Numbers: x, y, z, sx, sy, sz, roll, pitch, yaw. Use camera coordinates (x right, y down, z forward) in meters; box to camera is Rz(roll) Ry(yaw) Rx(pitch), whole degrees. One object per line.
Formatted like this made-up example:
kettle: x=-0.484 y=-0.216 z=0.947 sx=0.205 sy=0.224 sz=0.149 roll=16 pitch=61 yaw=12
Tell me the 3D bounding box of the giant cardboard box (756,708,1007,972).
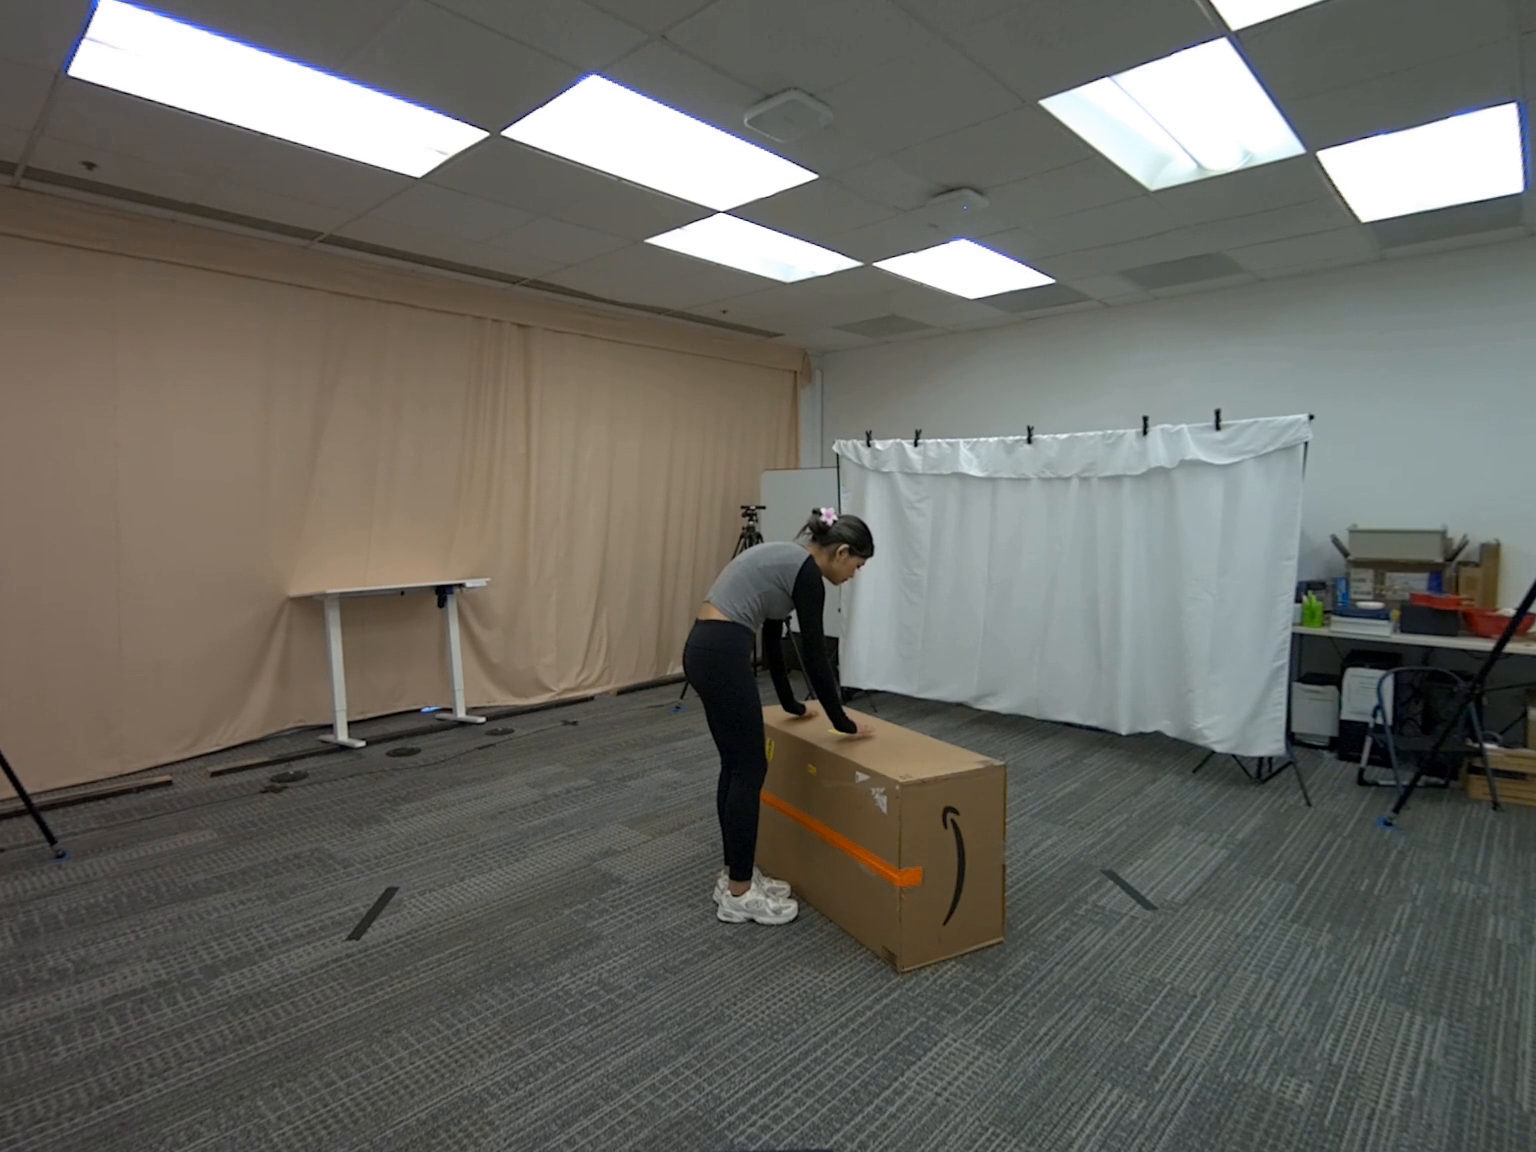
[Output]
giant cardboard box: x=0.319 y=0.849 z=3.032 sx=0.415 sy=0.576 sz=1.055 roll=-2 pitch=4 yaw=-29
